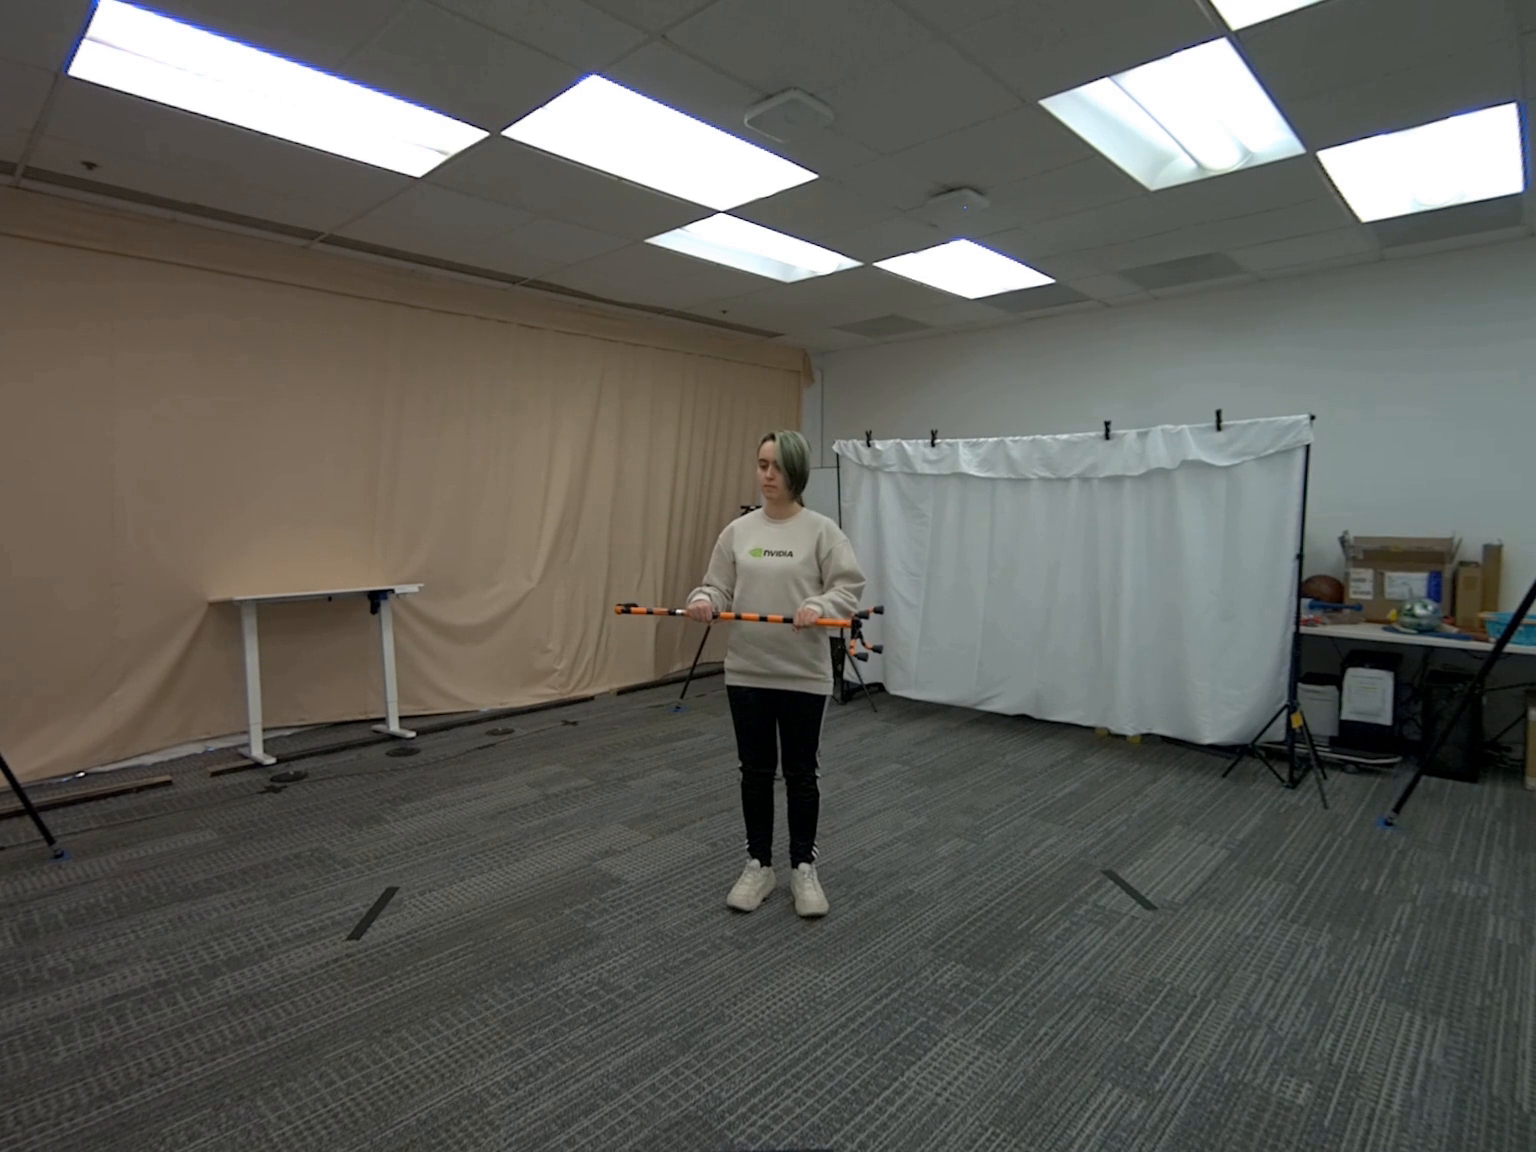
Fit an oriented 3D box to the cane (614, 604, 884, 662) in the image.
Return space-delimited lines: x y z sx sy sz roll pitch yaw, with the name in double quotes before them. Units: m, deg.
"cane" -0.113 0.150 2.702 0.931 0.151 0.201 3 3 25
